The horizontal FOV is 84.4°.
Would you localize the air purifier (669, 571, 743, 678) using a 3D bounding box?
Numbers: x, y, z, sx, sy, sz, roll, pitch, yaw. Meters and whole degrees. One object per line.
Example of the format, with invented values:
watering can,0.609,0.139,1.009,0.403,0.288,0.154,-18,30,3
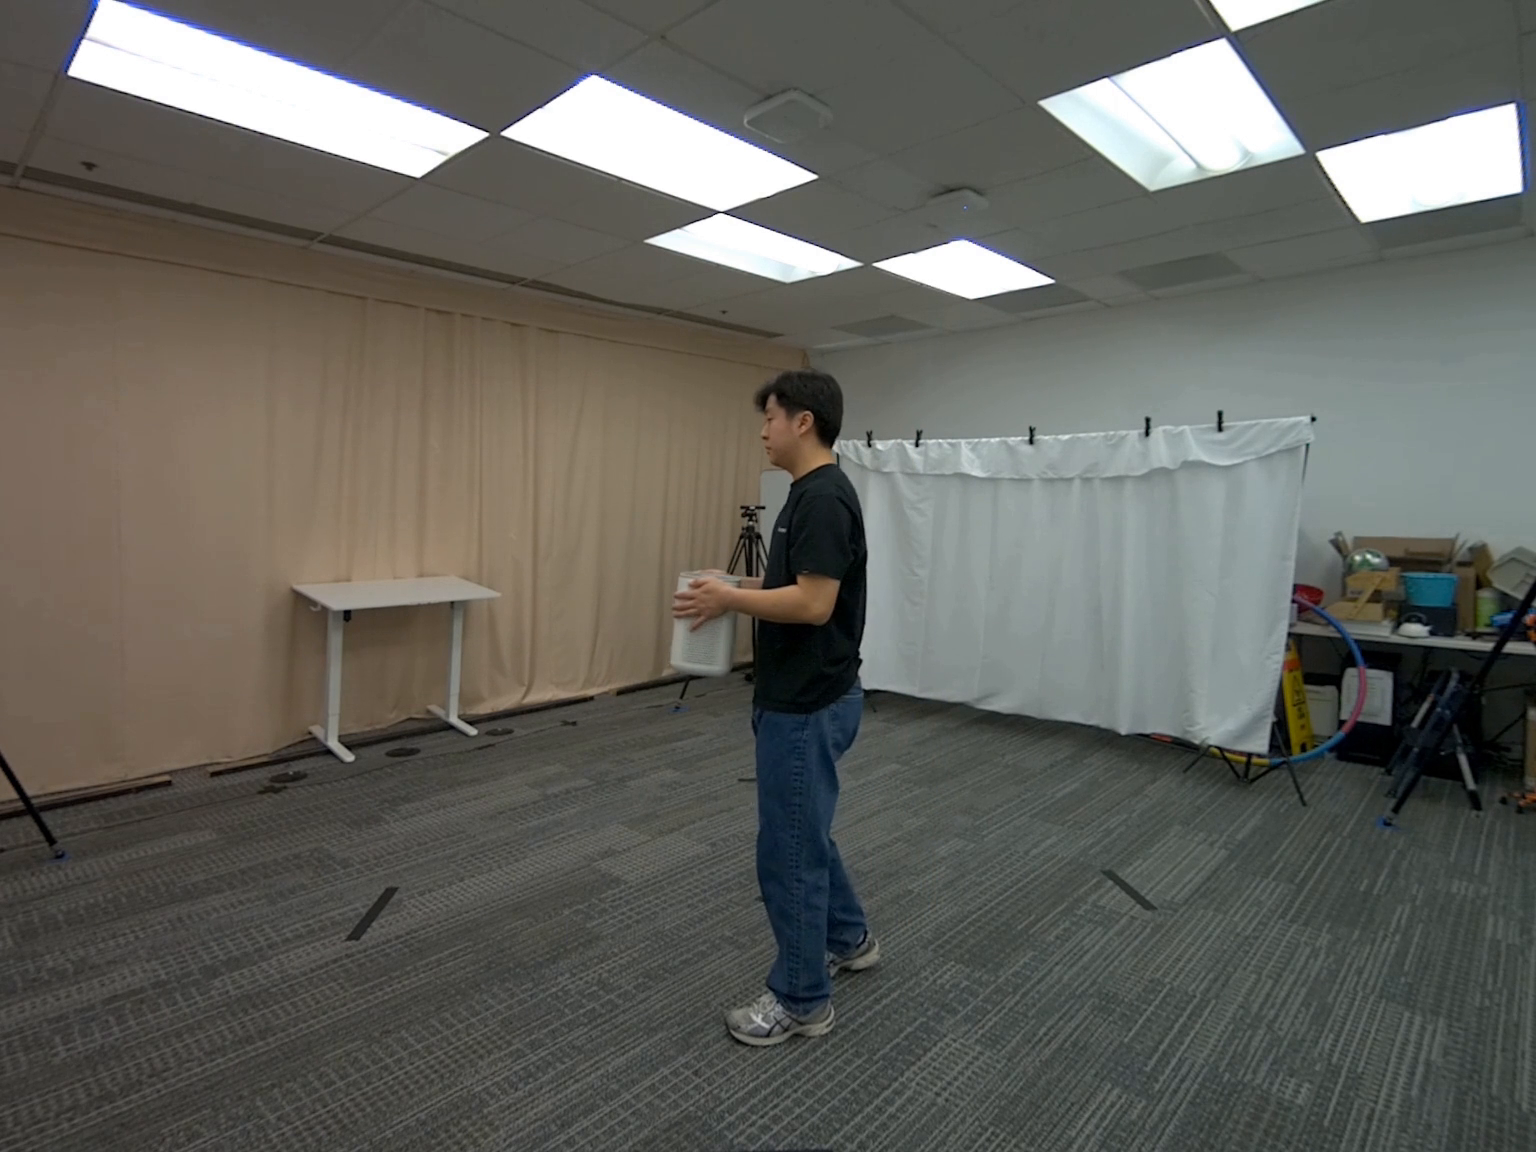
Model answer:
air purifier,-0.158,0.134,2.313,0.173,0.265,0.170,5,3,7
